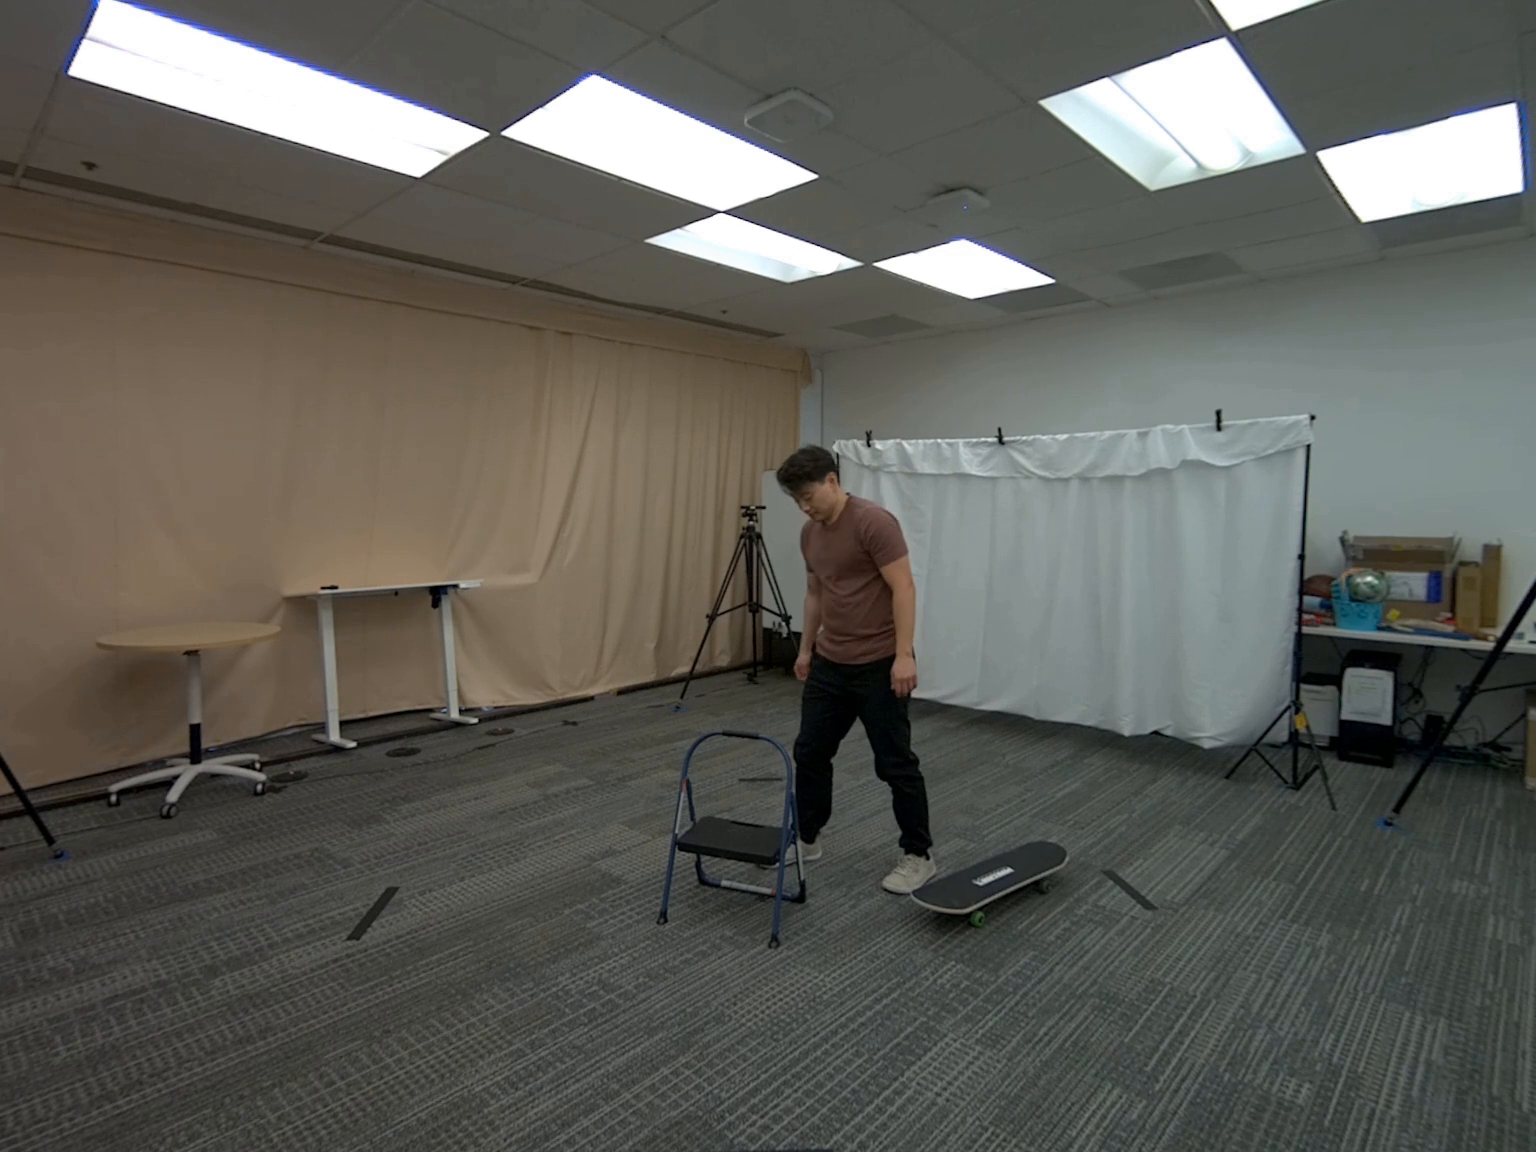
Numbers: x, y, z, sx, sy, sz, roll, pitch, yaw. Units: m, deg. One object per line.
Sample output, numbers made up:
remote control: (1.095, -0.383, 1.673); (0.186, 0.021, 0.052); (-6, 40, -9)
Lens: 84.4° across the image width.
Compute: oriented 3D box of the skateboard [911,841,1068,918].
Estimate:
skateboard: (0.798, 1.093, 2.950); (0.762, 0.110, 0.200); (-3, 6, -38)
